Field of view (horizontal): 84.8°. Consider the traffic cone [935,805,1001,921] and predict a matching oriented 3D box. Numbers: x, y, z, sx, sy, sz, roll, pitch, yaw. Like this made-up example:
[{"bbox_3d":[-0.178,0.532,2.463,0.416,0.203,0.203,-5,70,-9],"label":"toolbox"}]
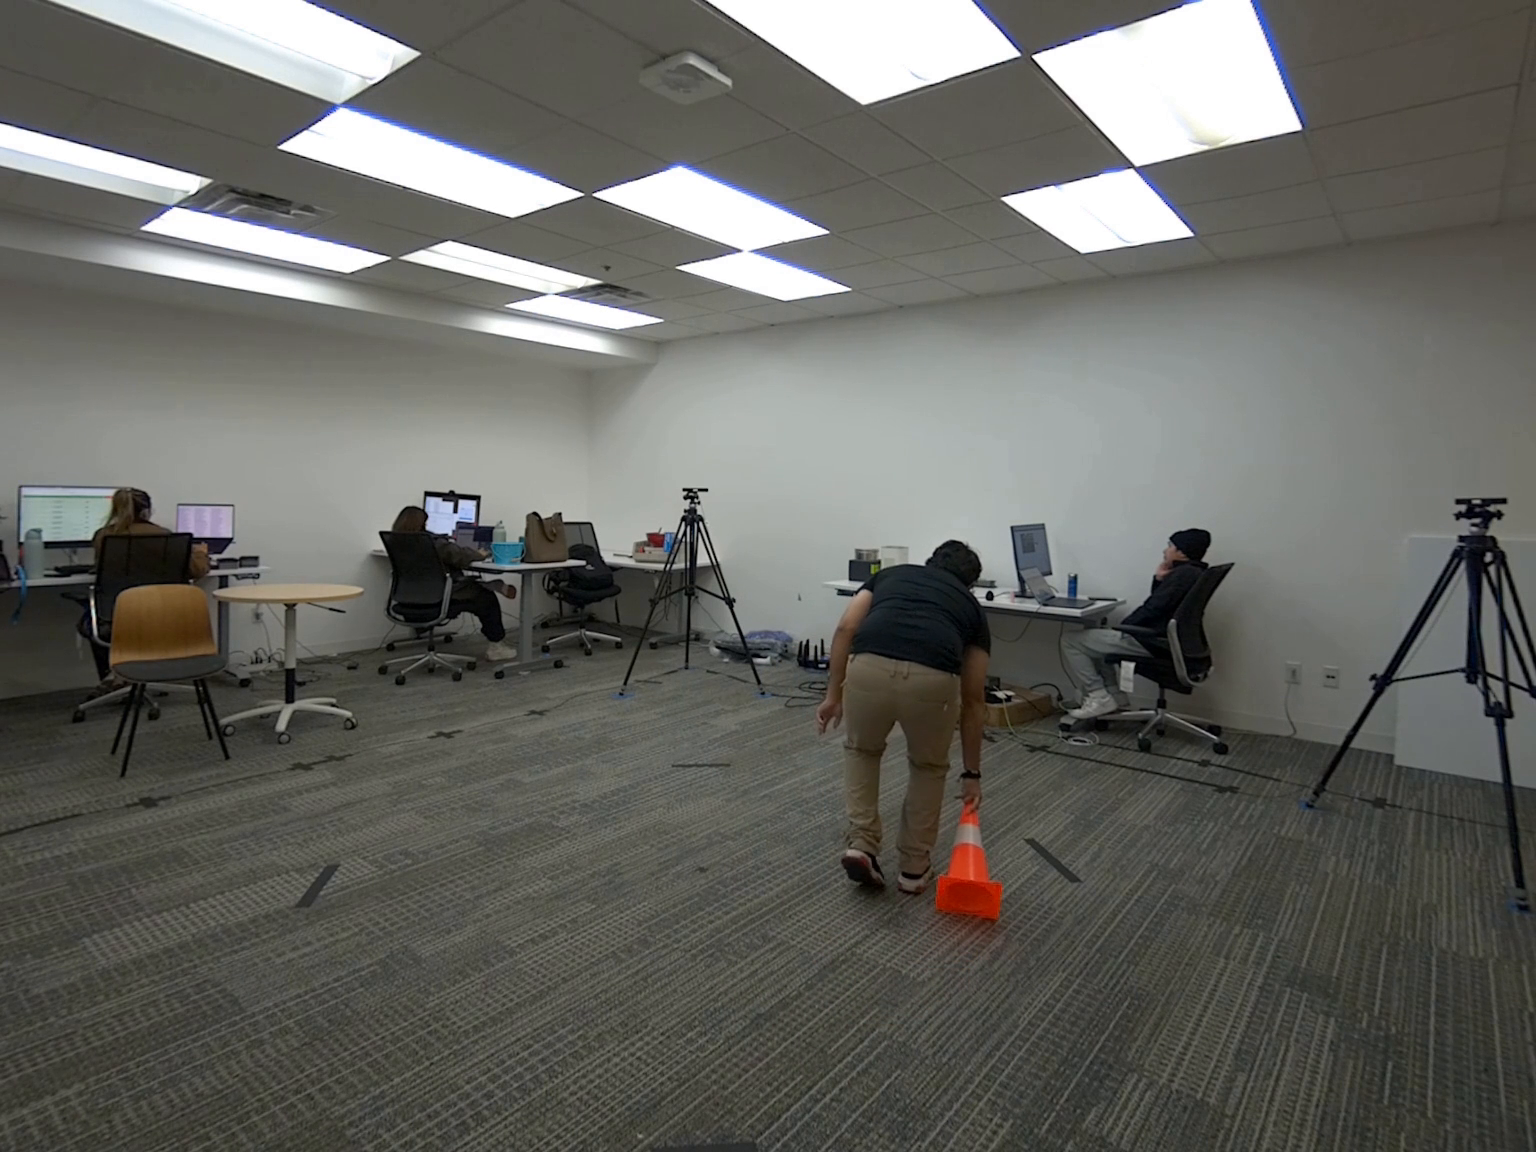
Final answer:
[{"bbox_3d":[0.686,0.925,2.912,0.207,0.198,0.390,-1,39,14],"label":"traffic cone"}]
